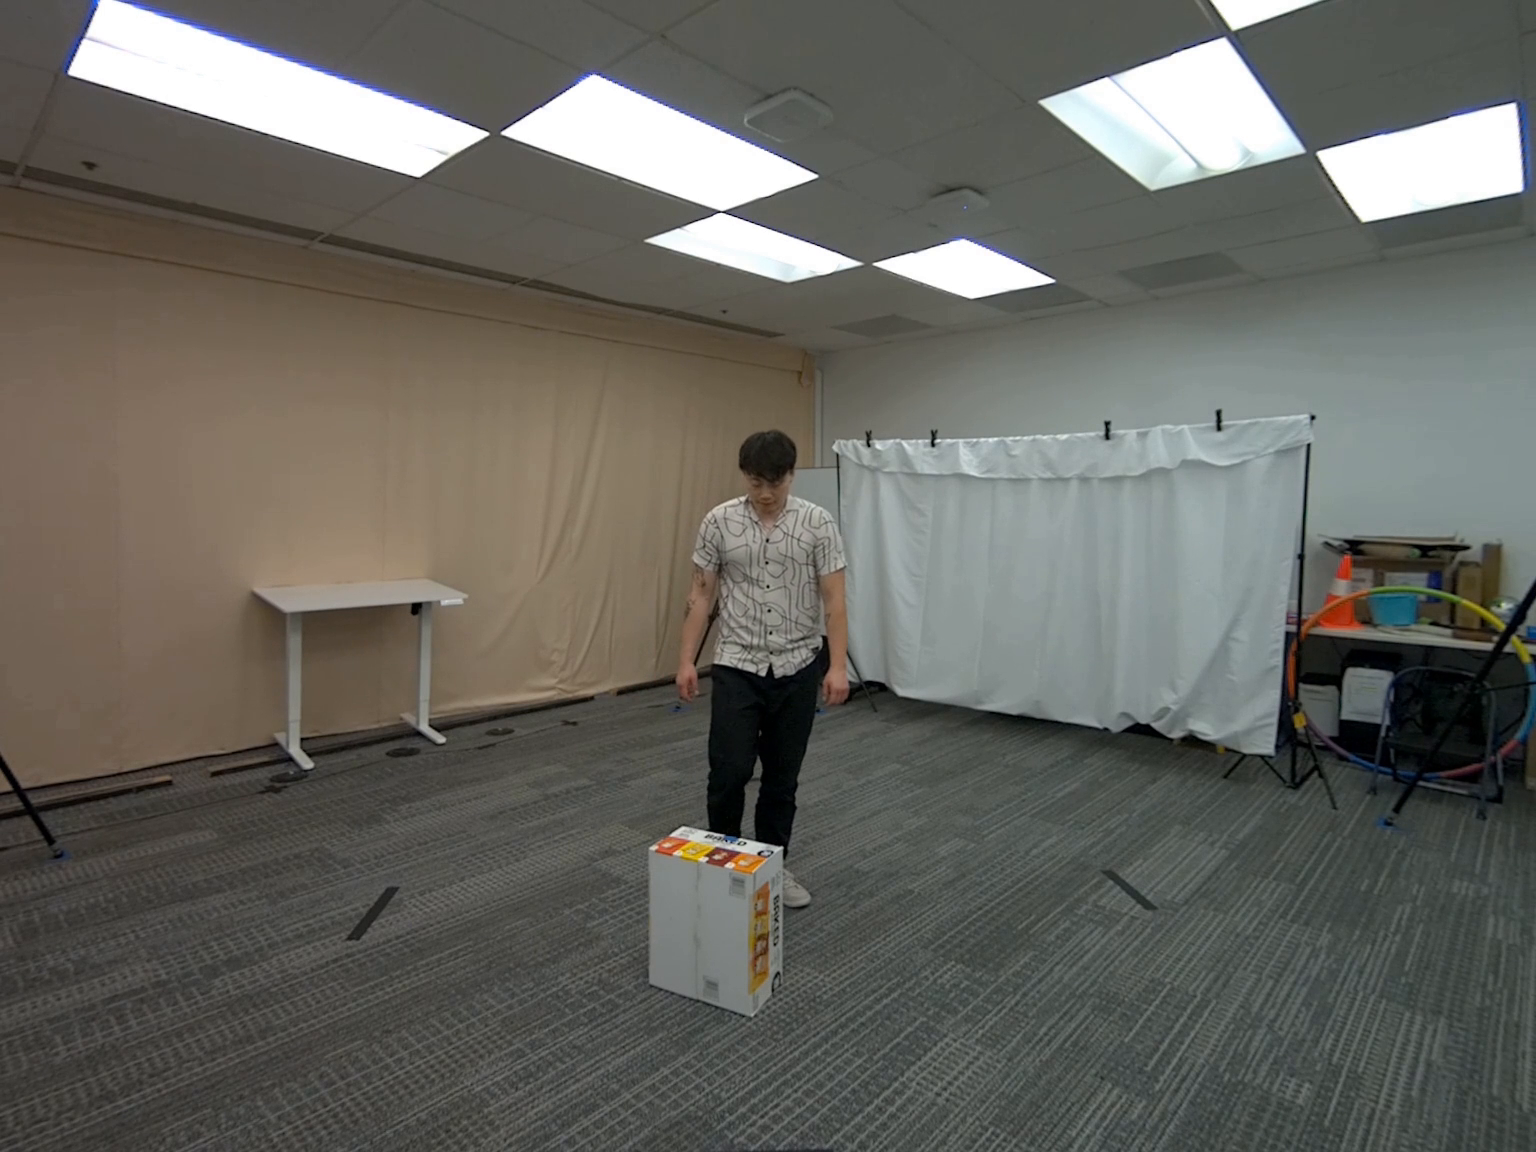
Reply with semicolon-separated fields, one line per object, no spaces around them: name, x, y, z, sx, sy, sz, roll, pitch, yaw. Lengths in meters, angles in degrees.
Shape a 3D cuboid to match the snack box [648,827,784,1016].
snack box;-0.153;0.985;2.437;0.350;0.404;0.200;2;3;28
